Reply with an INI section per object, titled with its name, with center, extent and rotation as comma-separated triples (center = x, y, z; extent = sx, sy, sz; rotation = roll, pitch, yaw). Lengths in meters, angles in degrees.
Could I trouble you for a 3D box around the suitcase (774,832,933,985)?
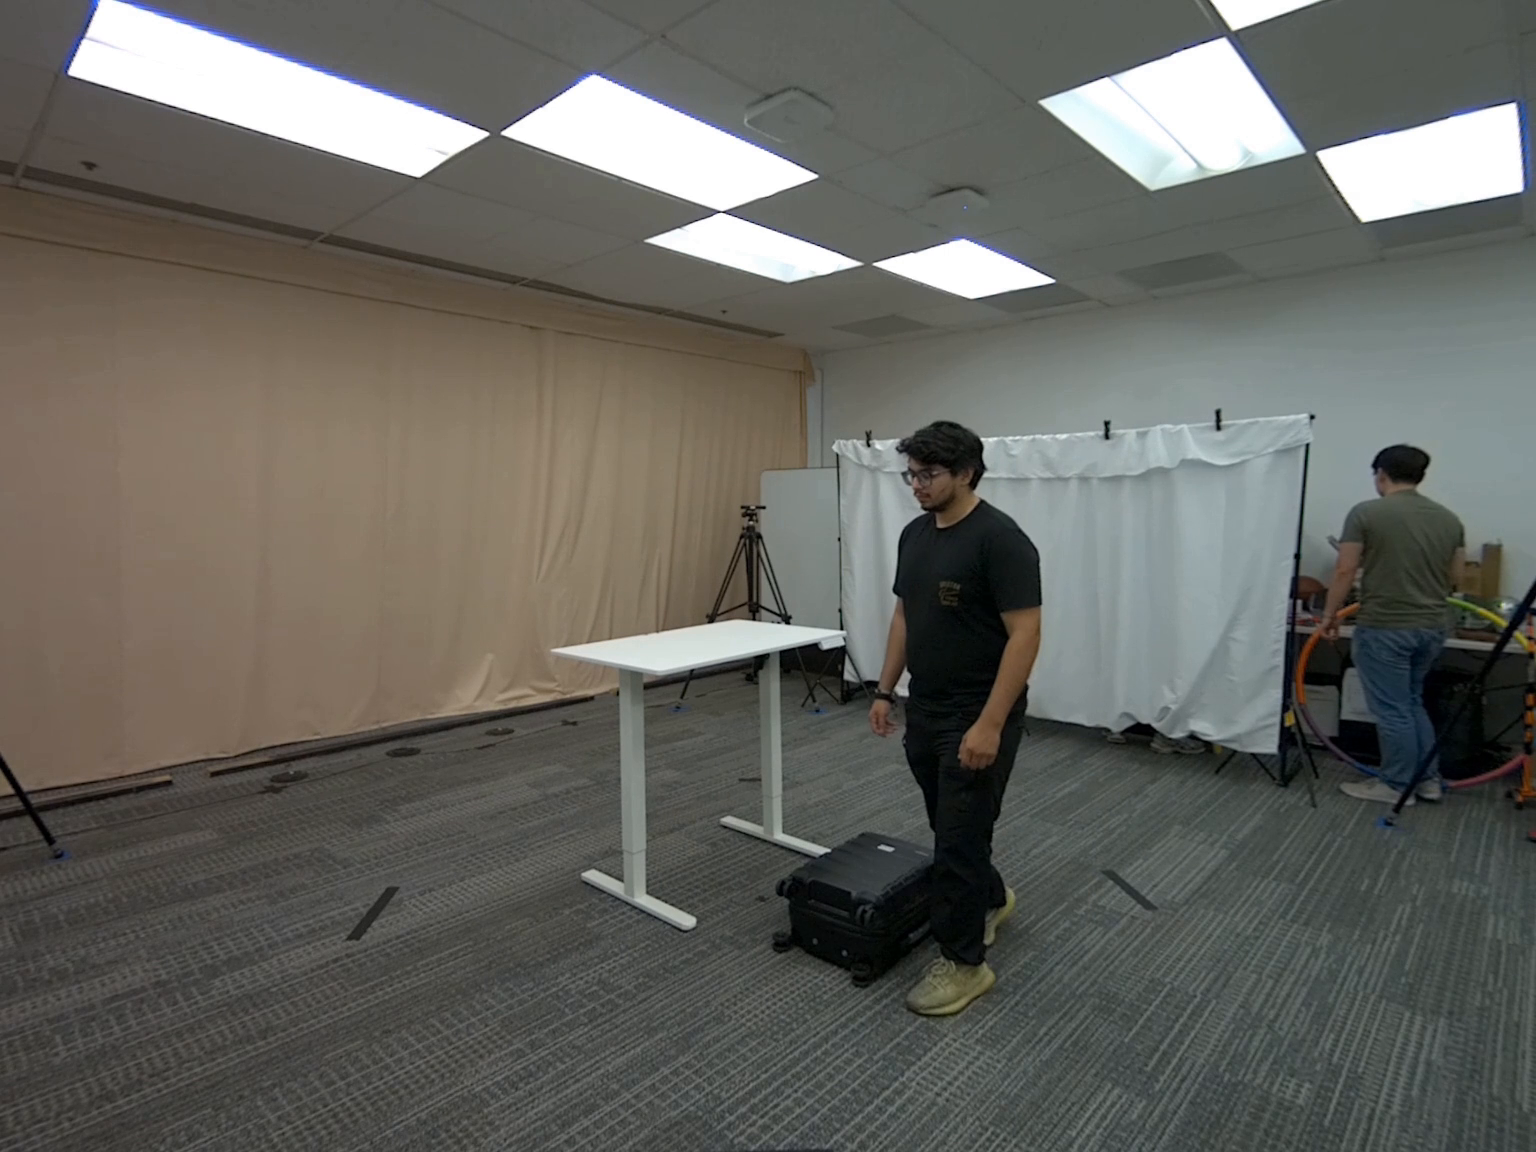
[suitcase]
center = 0.454, 1.027, 2.874
extent = 0.396, 0.256, 0.950
rotation = 2, 7, 39
